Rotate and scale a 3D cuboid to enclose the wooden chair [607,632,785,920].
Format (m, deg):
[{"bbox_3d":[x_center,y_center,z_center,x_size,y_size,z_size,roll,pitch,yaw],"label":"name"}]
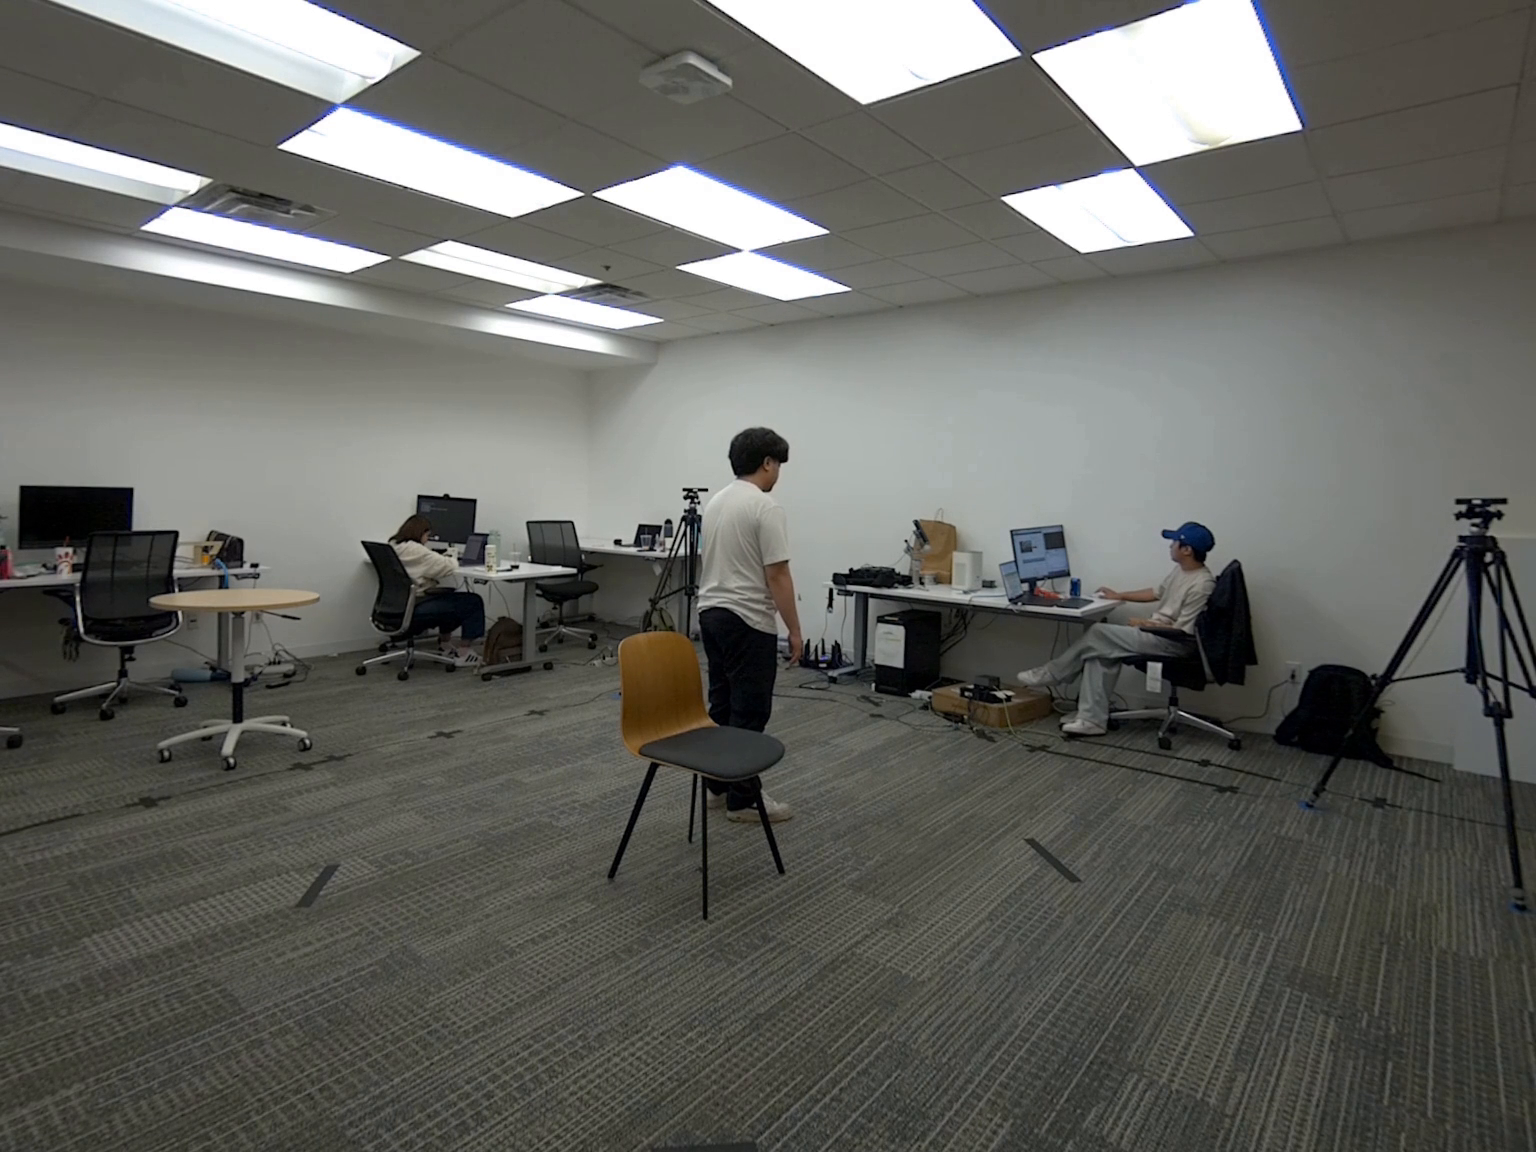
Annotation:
[{"bbox_3d":[-0.248,0.652,3.015,0.539,0.878,0.464,-2,0,38],"label":"wooden chair"}]
